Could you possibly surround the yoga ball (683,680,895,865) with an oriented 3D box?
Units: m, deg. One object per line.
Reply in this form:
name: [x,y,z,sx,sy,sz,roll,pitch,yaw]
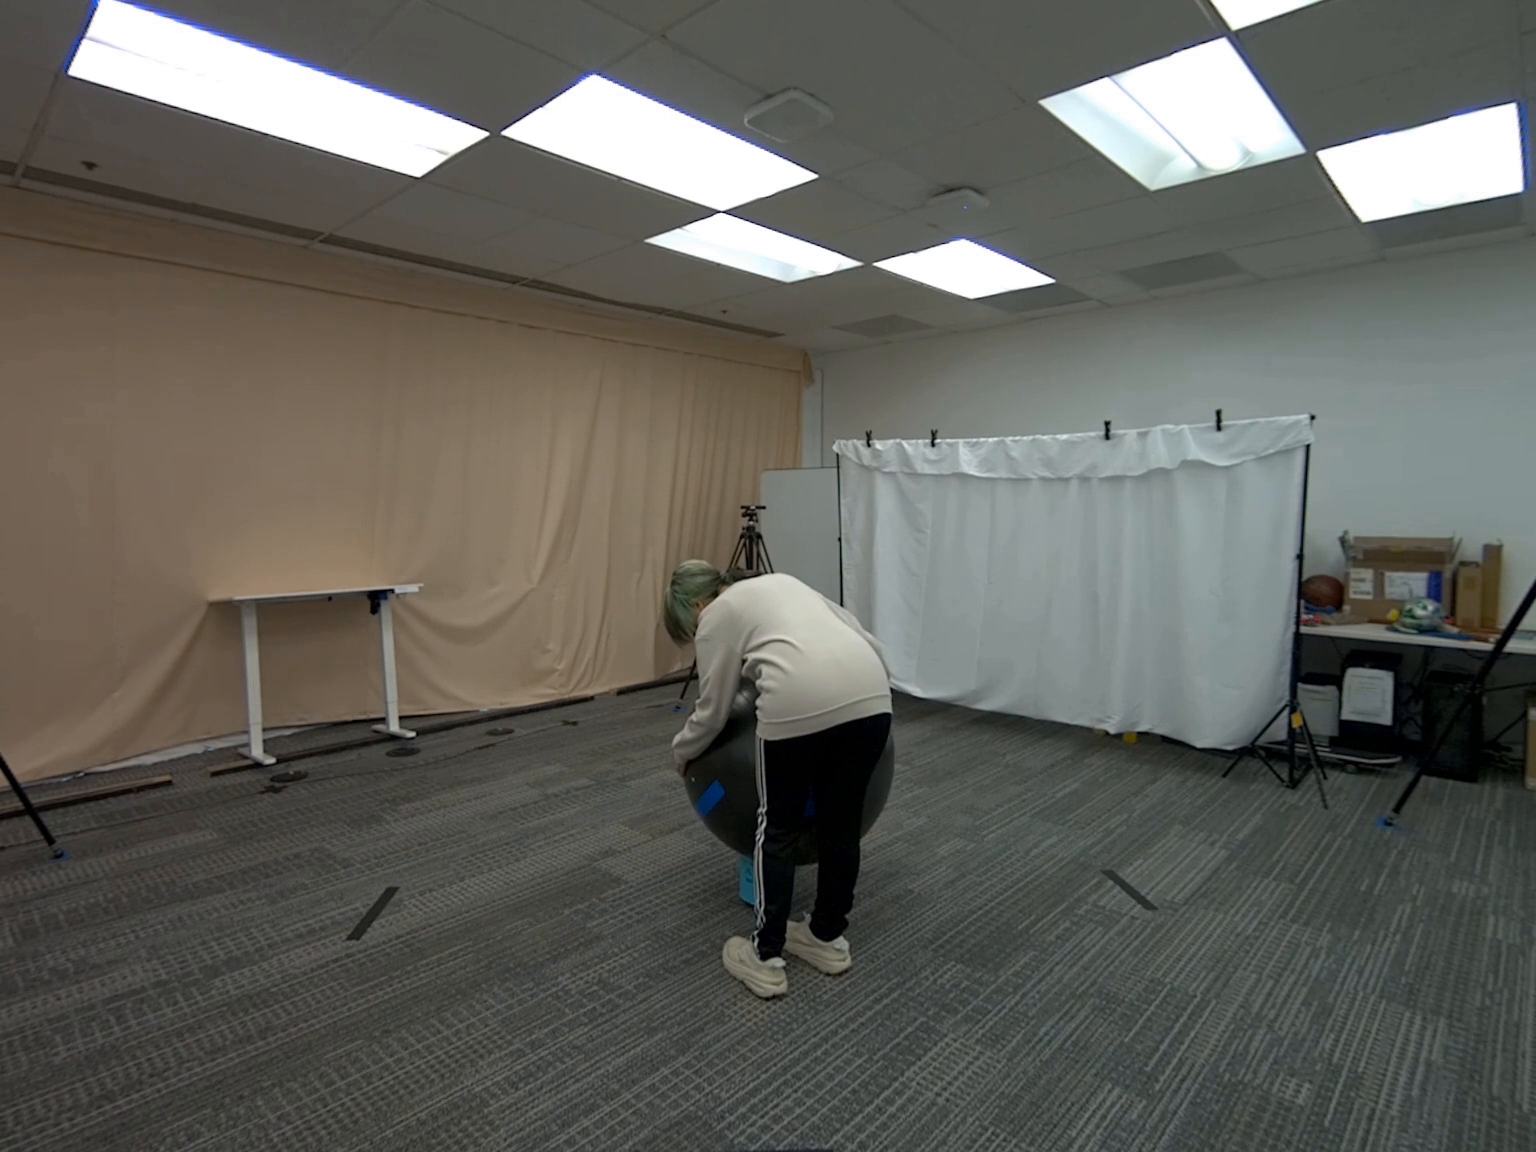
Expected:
yoga ball: [0.064,0.627,2.986,0.757,0.756,0.760,0,4,-2]
